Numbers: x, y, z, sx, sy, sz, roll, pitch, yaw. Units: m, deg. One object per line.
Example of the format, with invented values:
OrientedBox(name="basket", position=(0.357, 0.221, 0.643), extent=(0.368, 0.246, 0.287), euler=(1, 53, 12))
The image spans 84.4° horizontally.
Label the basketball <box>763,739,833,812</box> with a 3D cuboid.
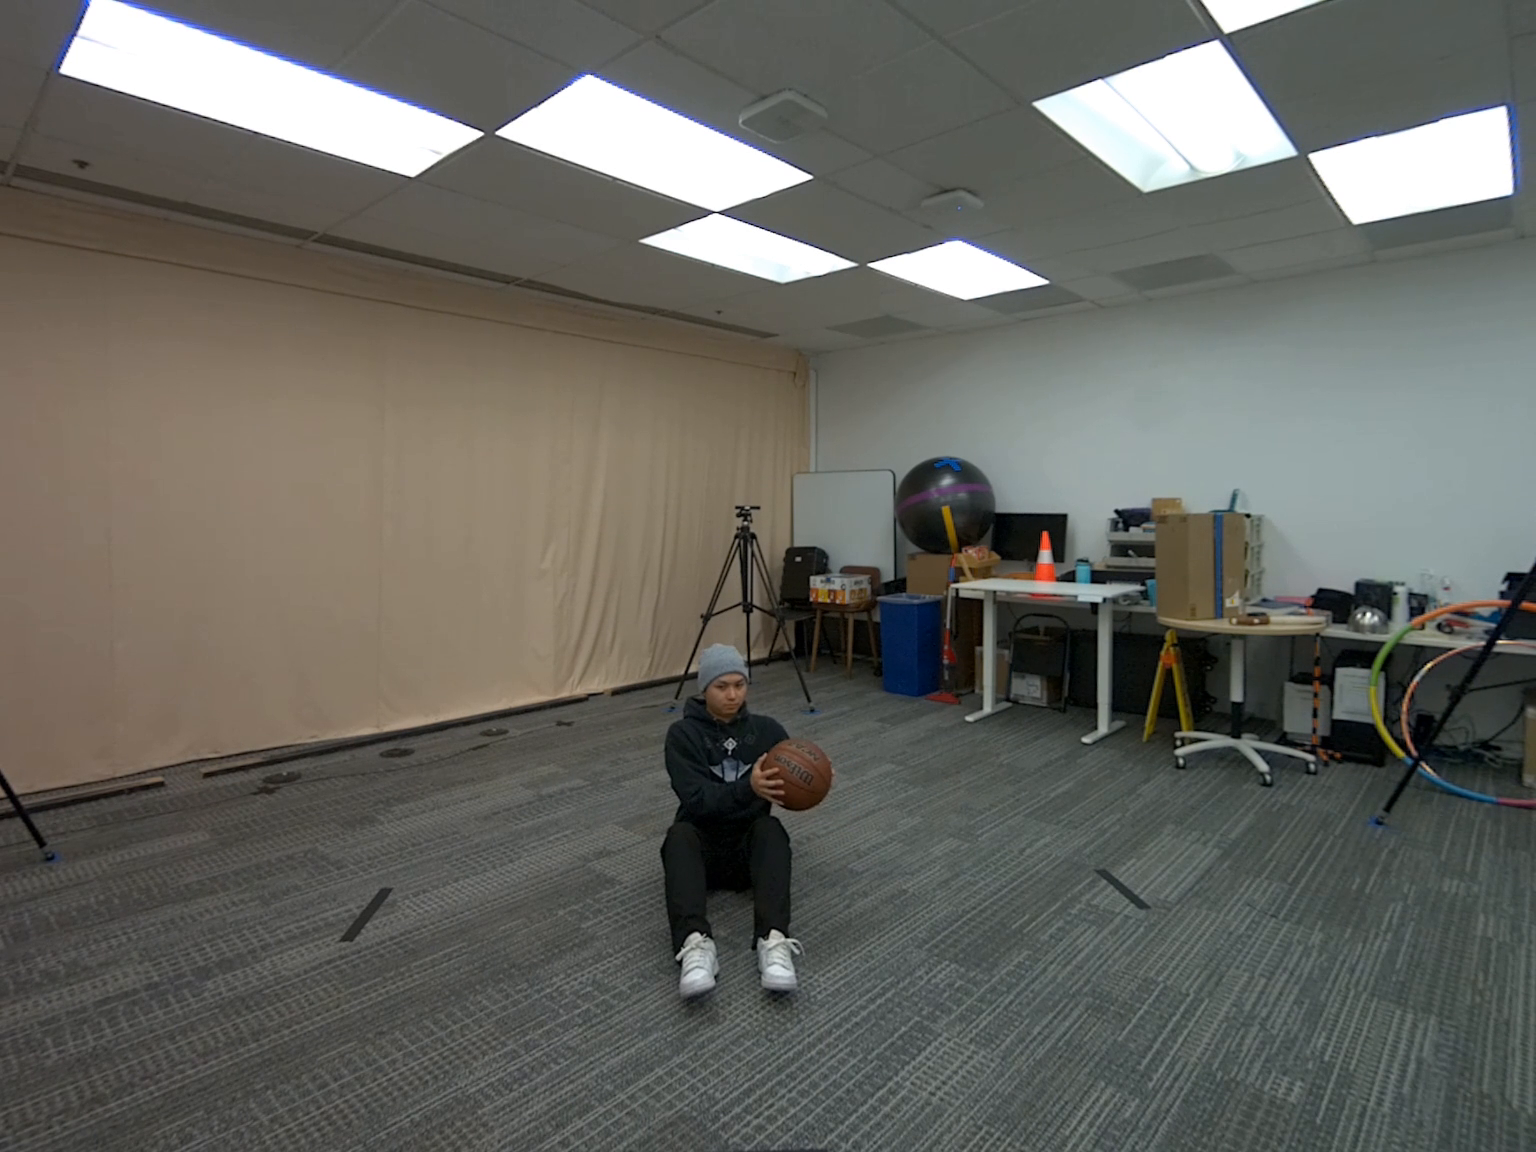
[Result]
OrientedBox(name="basketball", position=(0.095, 0.675, 2.865), extent=(0.236, 0.235, 0.237), euler=(0, 4, -2))
